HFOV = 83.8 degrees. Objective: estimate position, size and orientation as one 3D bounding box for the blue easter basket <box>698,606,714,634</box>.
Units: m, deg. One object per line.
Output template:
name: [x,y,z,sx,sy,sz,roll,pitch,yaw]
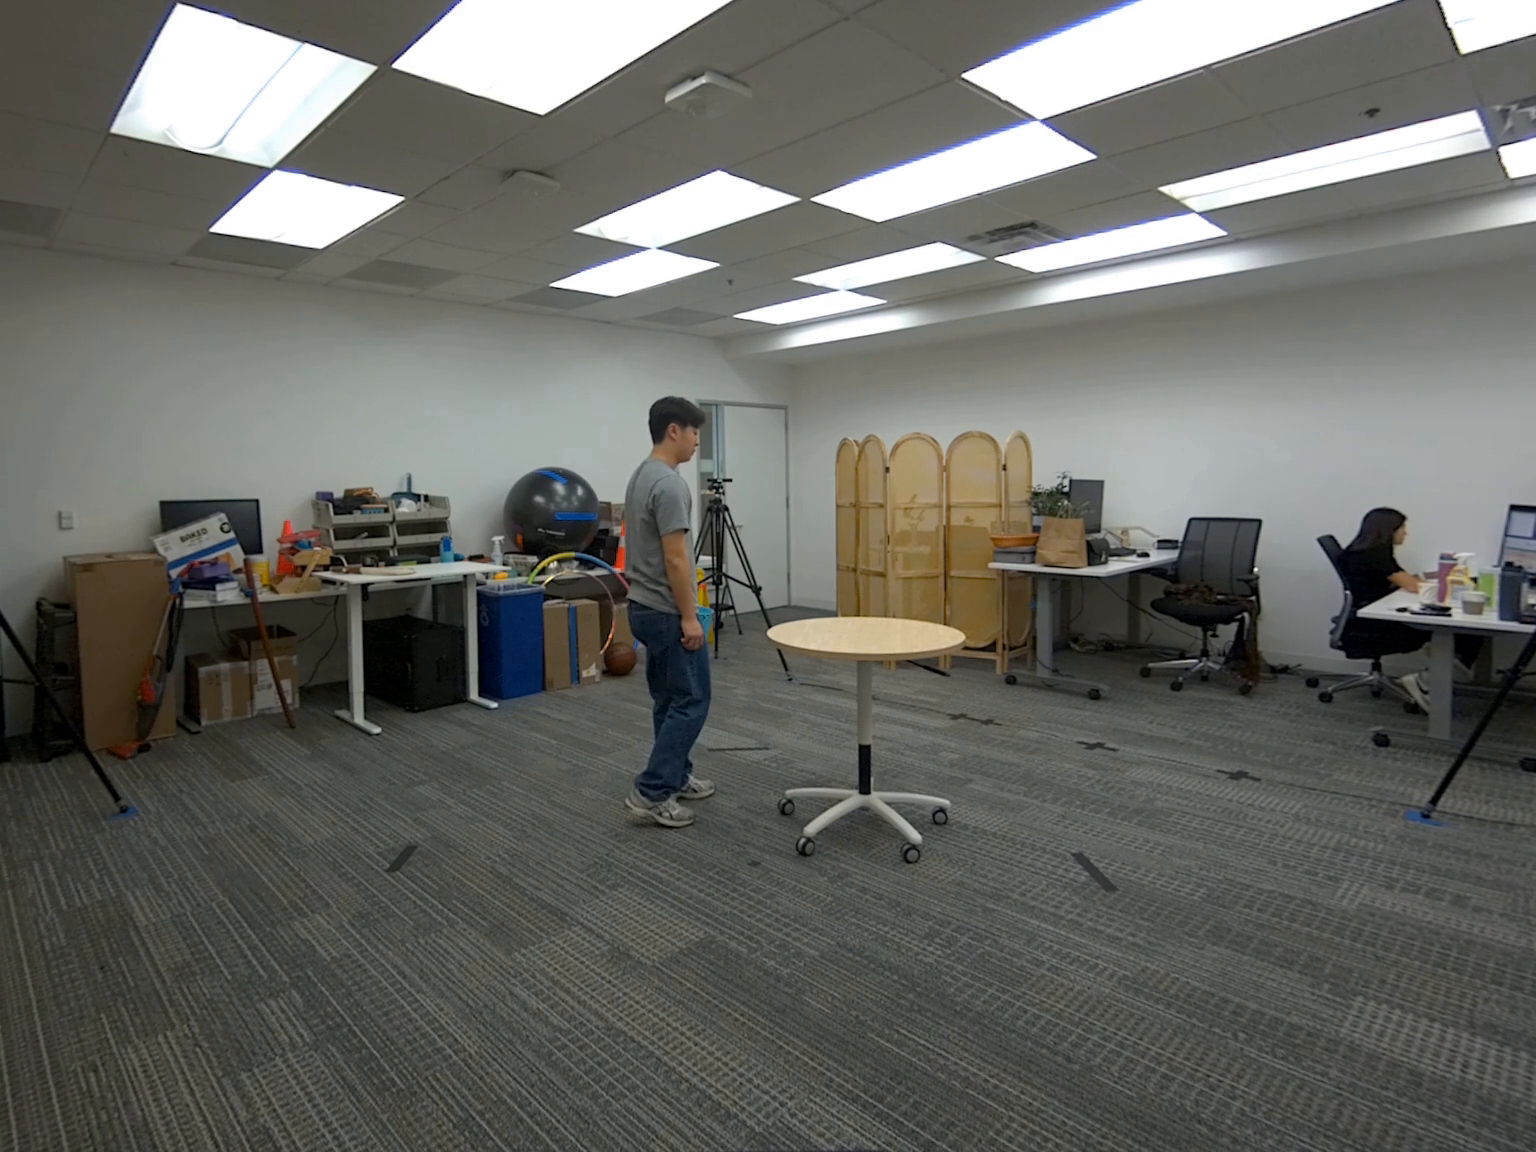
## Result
blue easter basket: [-0.384,0.231,4.022,0.243,0.155,0.245,3,7,-2]
